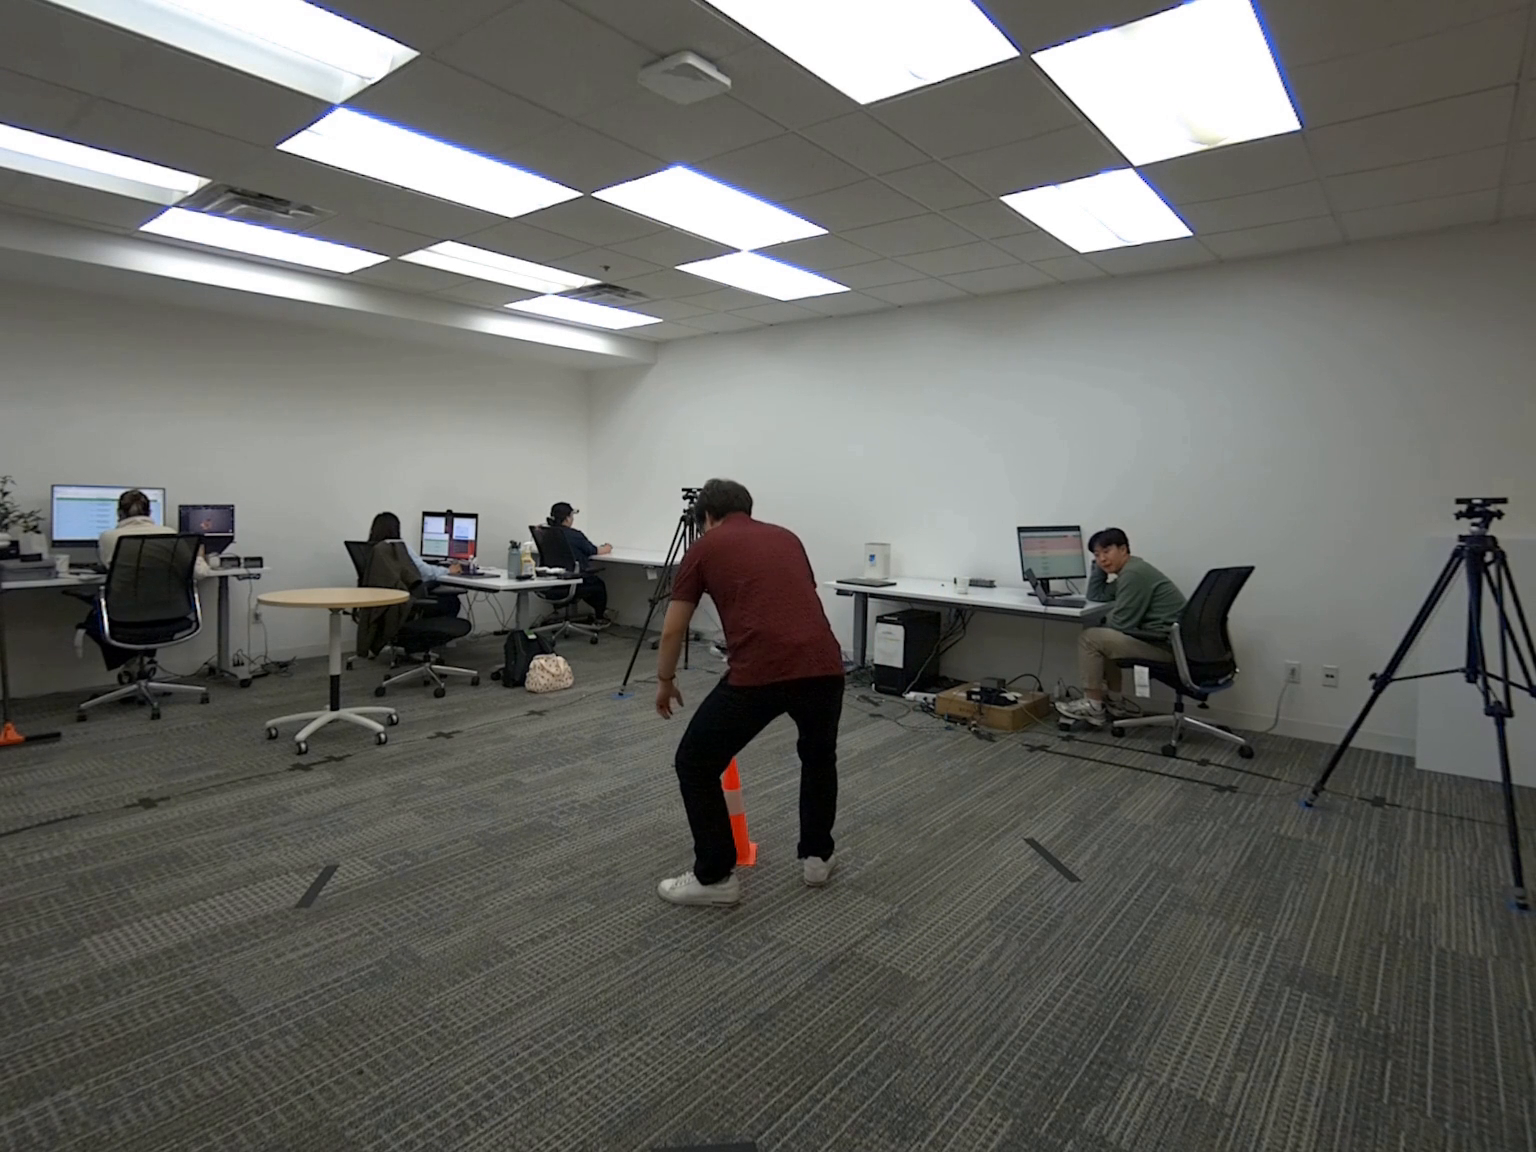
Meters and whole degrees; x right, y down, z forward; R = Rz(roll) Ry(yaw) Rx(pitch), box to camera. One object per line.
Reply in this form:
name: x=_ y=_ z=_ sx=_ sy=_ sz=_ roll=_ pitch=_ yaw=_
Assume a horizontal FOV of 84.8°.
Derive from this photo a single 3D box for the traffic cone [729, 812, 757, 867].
traffic cone: x=-0.147 y=0.869 z=3.253 sx=0.205 sy=0.383 sz=0.204 roll=2 pitch=1 yaw=6
